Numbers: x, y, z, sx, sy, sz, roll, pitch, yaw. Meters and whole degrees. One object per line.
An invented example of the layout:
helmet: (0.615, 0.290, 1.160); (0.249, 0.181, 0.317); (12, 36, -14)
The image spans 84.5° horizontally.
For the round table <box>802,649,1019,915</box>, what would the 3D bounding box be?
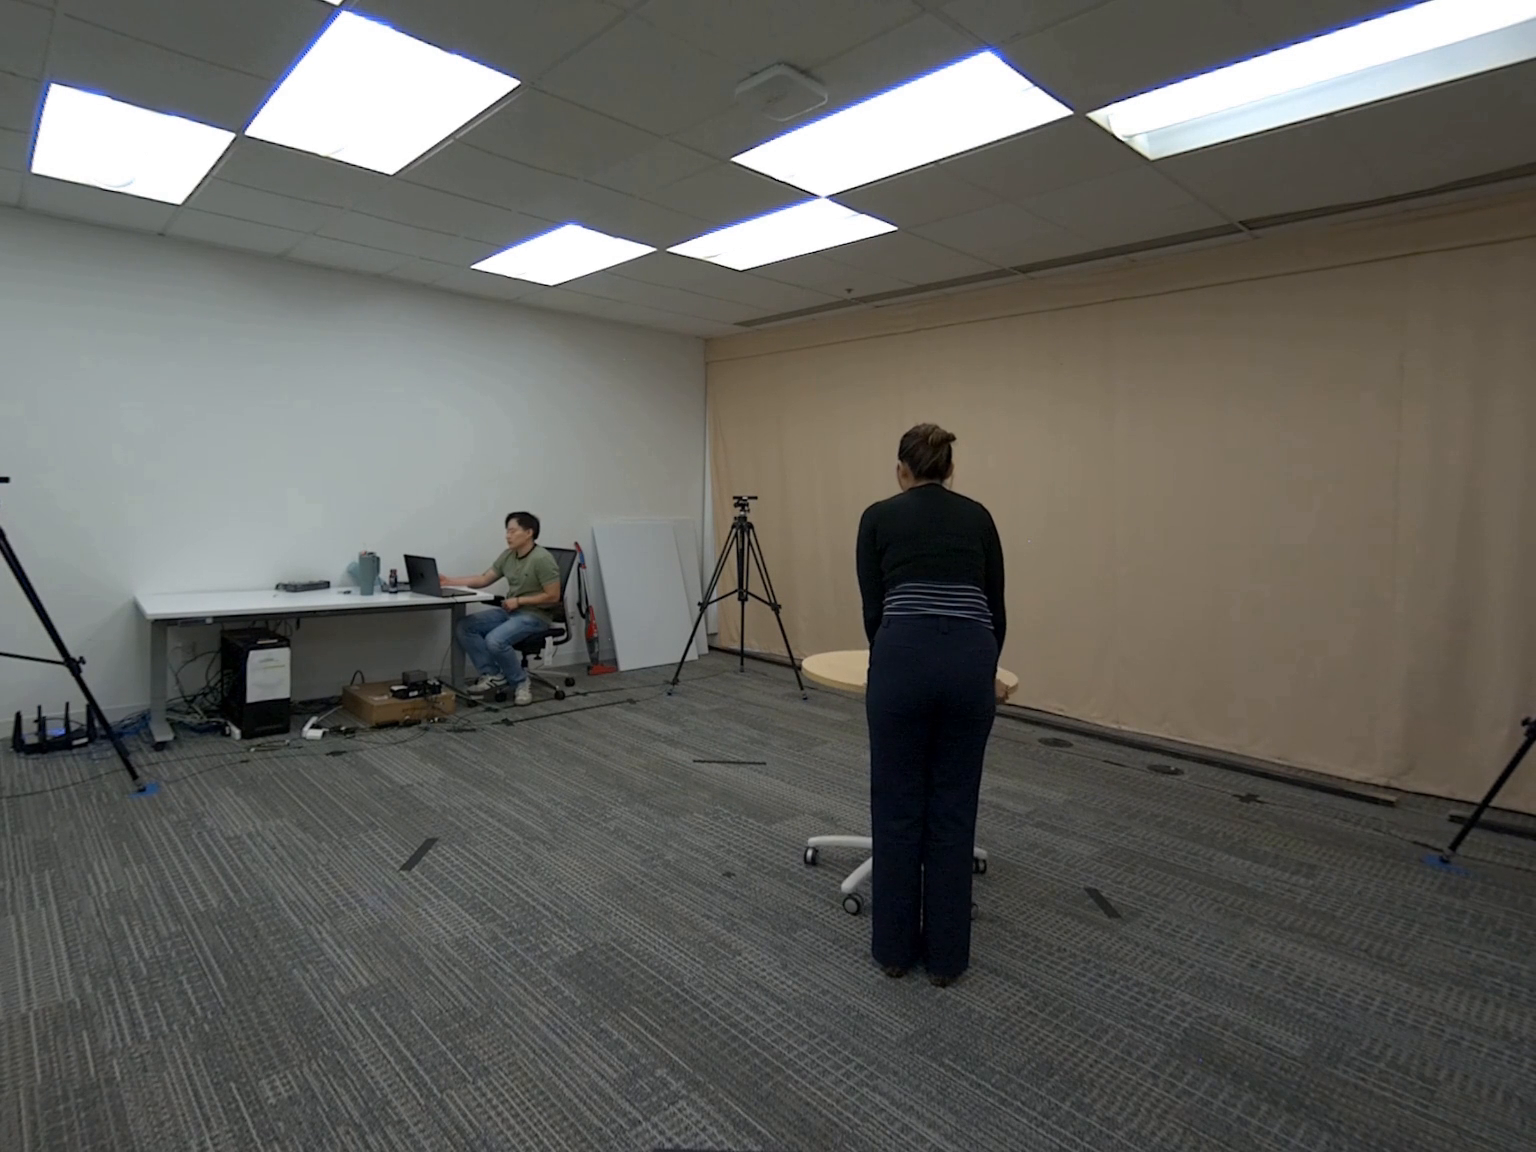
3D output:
round table: (0.479, 0.732, 3.078); (0.763, 0.792, 0.766); (2, 4, -2)
